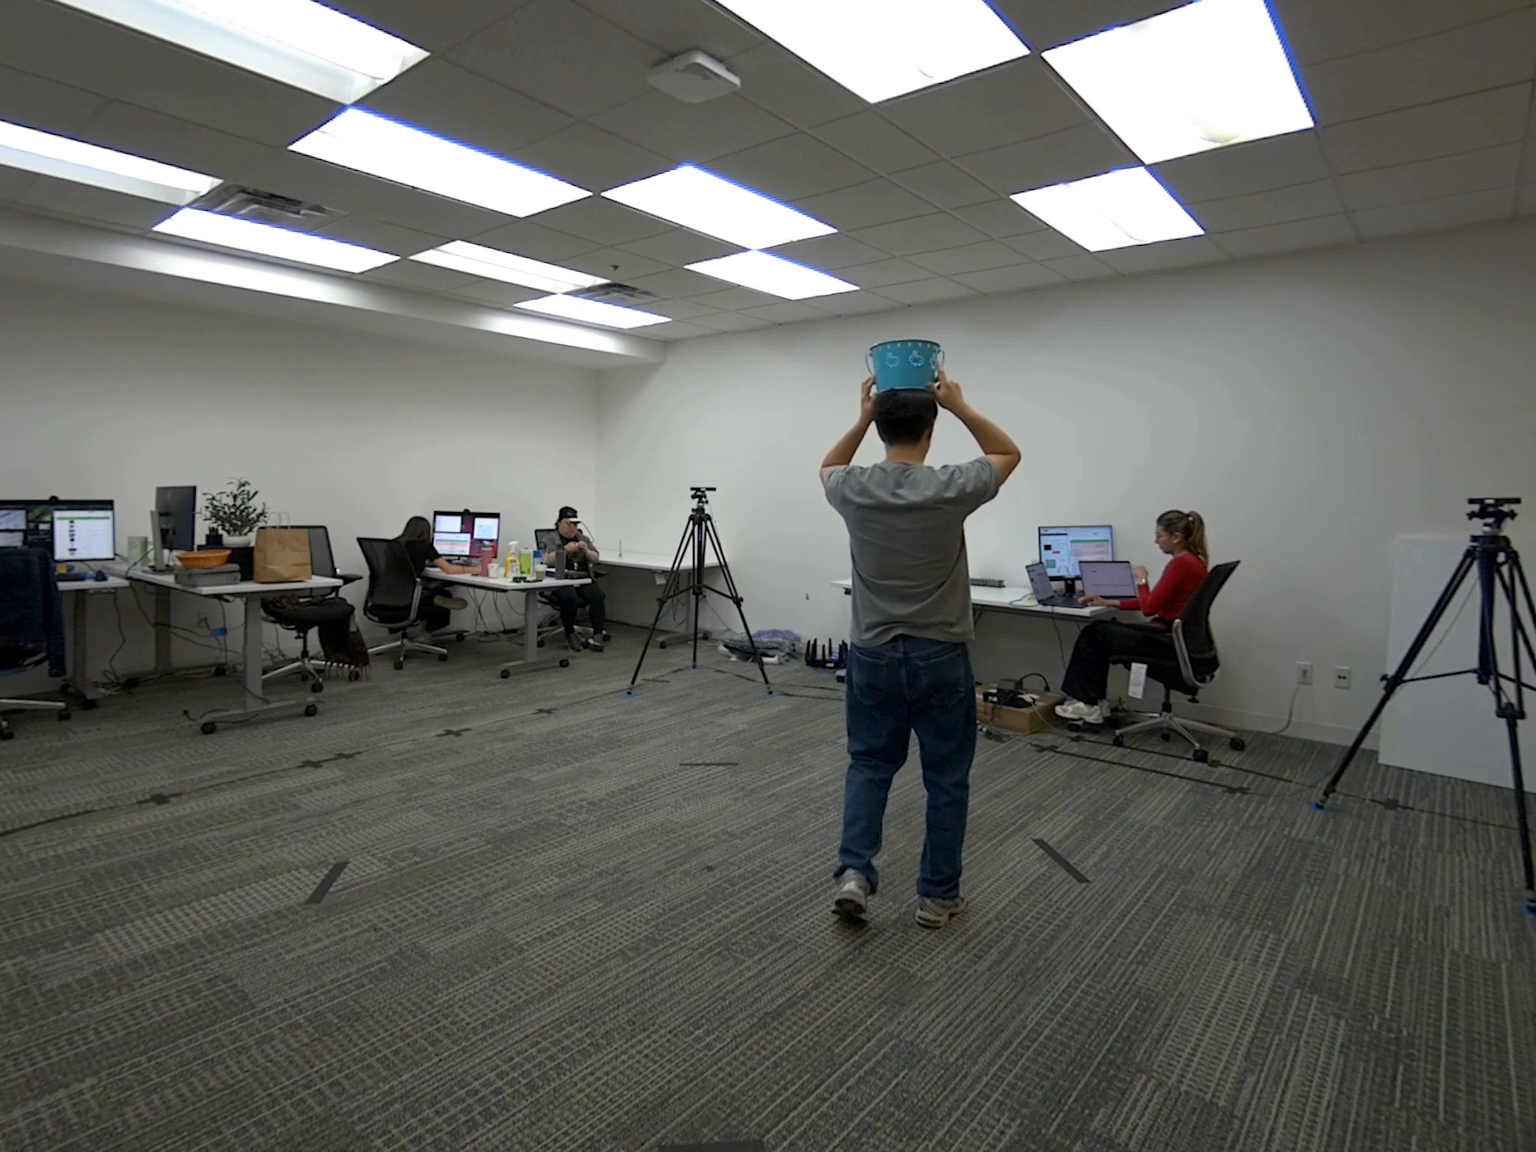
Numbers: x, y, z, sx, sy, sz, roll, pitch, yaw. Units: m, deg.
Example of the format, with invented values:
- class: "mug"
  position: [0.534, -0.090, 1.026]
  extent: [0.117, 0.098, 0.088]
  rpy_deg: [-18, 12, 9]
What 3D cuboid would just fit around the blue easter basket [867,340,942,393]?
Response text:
- class: "blue easter basket"
  position: [0.450, -0.672, 2.780]
  extent: [0.243, 0.156, 0.244]
  rpy_deg: [1, 2, -2]
